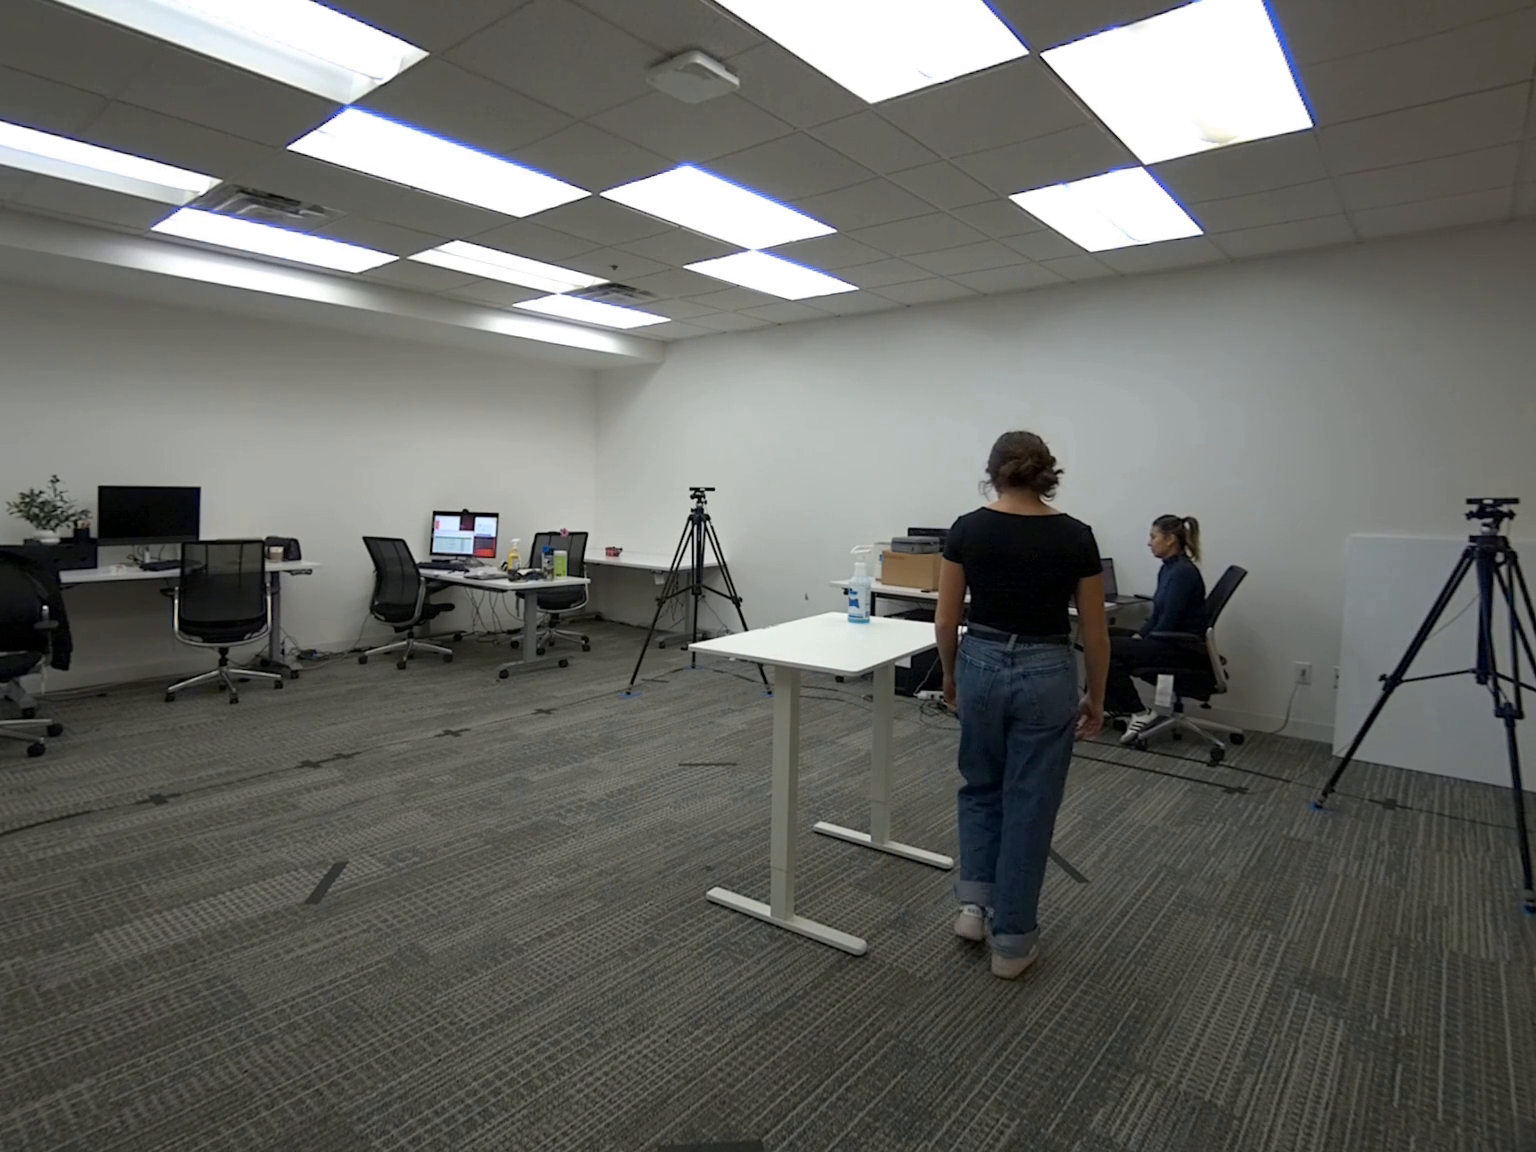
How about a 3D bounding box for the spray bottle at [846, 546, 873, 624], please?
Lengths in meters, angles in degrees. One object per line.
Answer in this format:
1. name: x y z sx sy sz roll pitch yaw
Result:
1. spray bottle: 0.351 0.032 3.307 0.092 0.297 0.085 3 1 17
